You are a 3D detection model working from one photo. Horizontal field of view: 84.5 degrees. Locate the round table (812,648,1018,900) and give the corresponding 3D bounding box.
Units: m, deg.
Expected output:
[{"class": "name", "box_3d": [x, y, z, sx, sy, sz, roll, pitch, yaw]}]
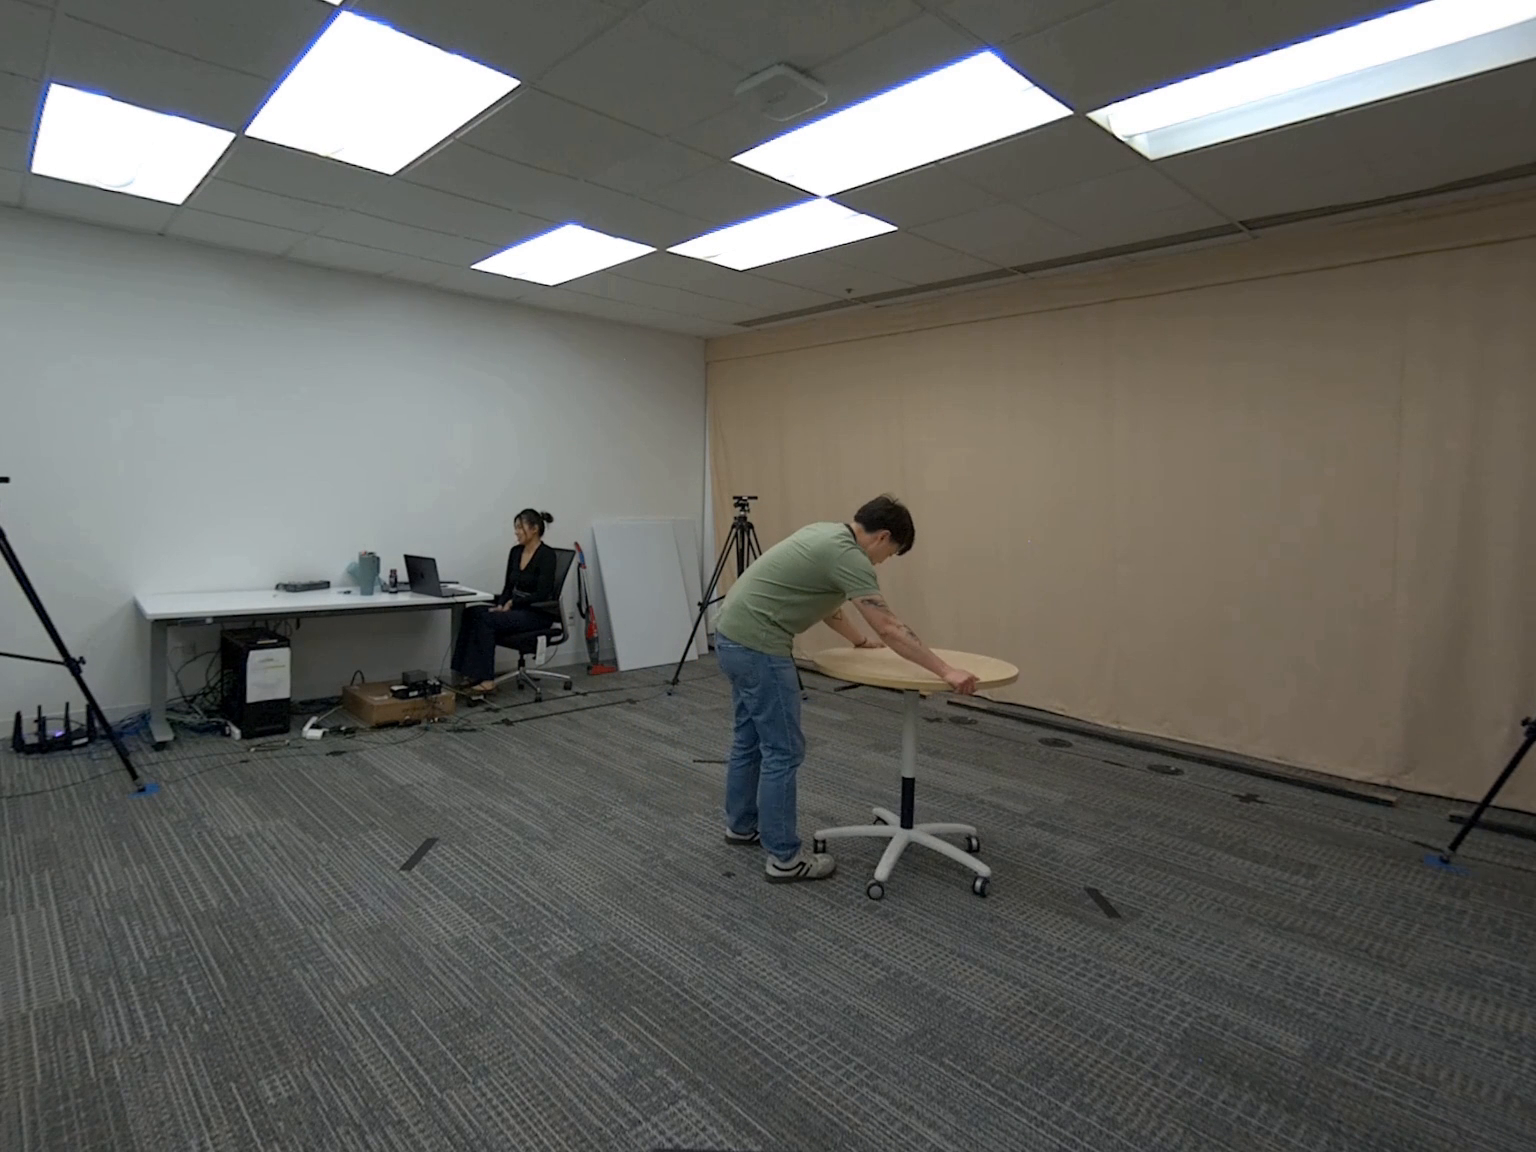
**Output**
[{"class": "round table", "box_3d": [0.529, 0.720, 3.222, 0.763, 0.792, 0.766, 1, 3, -1]}]
